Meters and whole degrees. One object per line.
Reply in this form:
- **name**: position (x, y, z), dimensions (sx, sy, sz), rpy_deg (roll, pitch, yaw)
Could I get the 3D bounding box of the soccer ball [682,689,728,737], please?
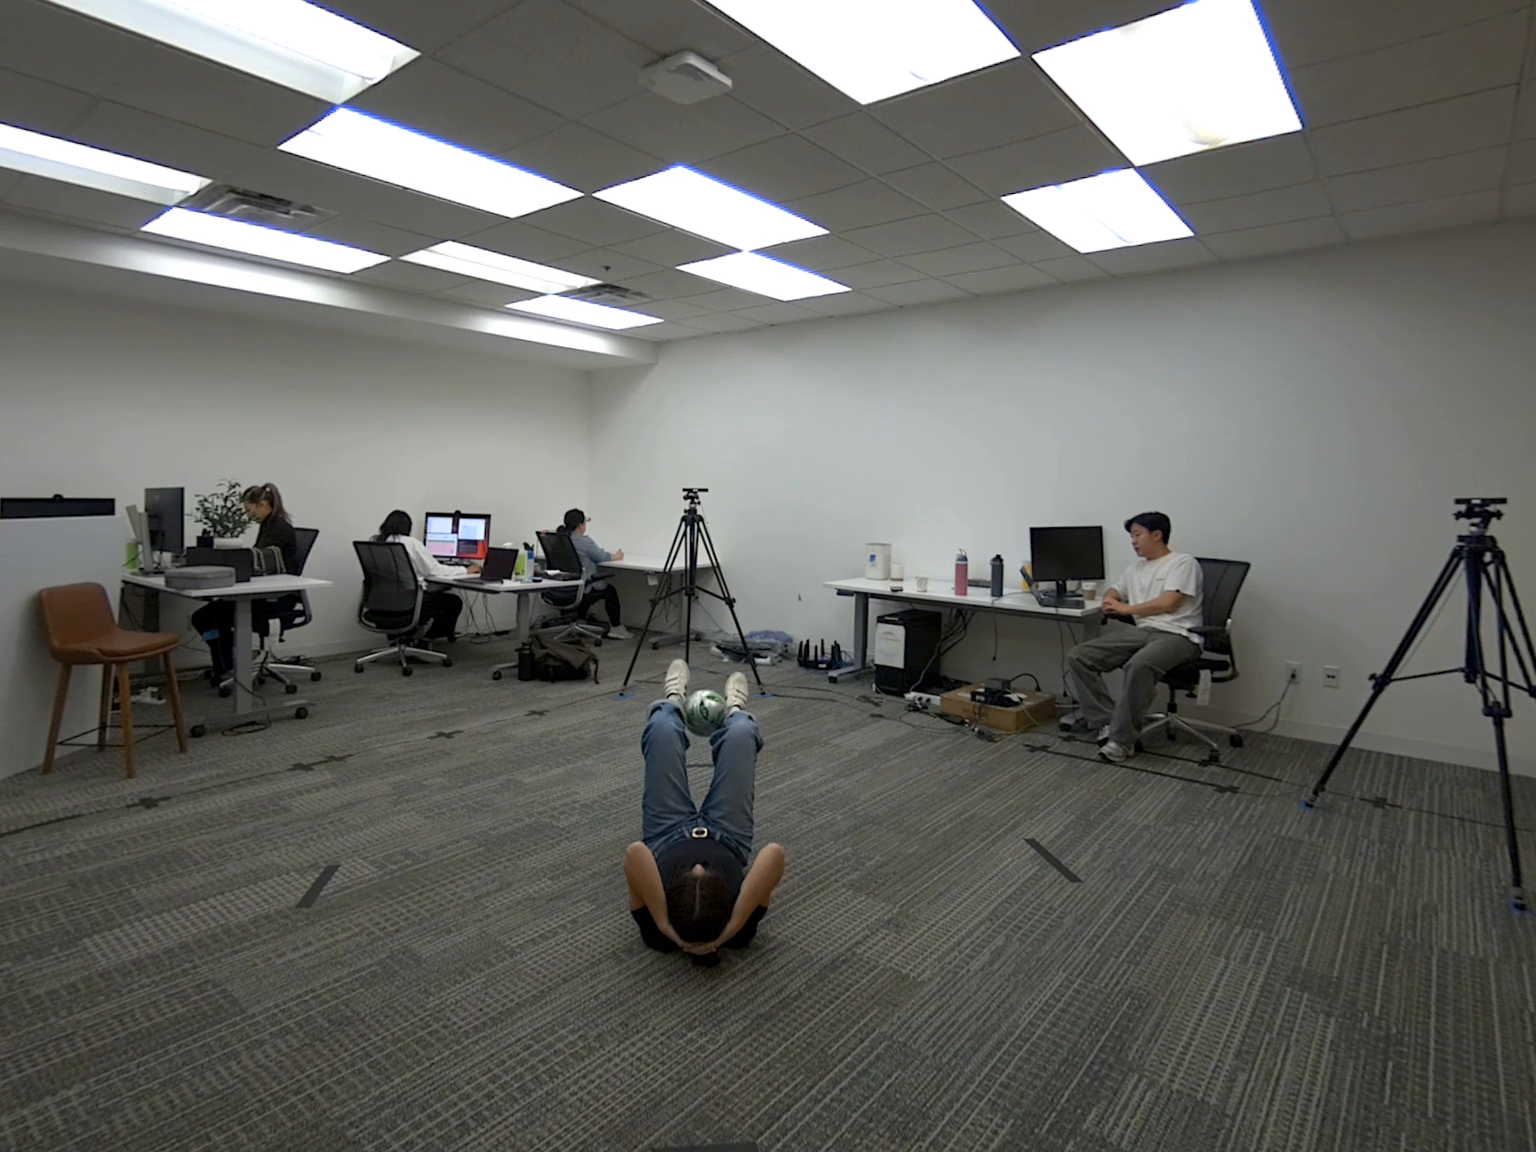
- **soccer ball**: position (-0.261, 0.543, 3.418), dimensions (0.187, 0.187, 0.188), rpy_deg (-3, 4, -2)
